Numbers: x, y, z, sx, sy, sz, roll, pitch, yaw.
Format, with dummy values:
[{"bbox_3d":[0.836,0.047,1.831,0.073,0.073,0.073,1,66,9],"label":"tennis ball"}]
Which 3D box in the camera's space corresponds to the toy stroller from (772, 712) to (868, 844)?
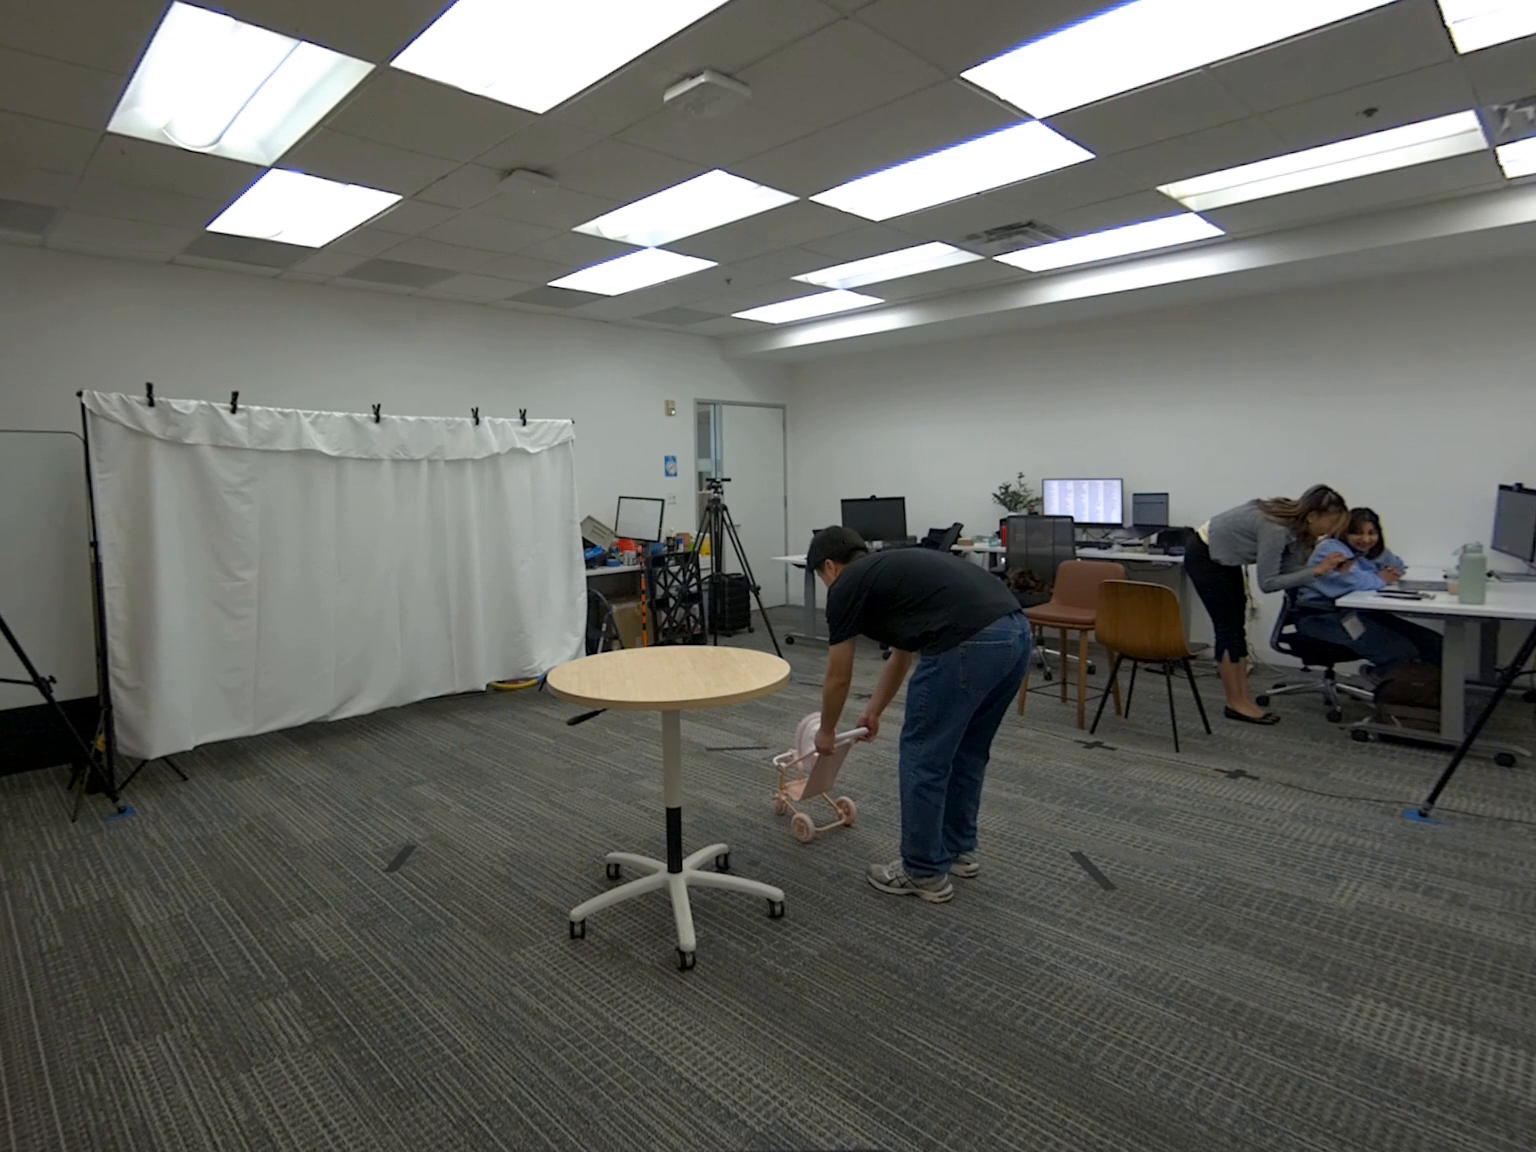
[{"bbox_3d":[0.183,0.778,3.399,0.274,0.529,0.354,-4,20,-38],"label":"toy stroller"}]
